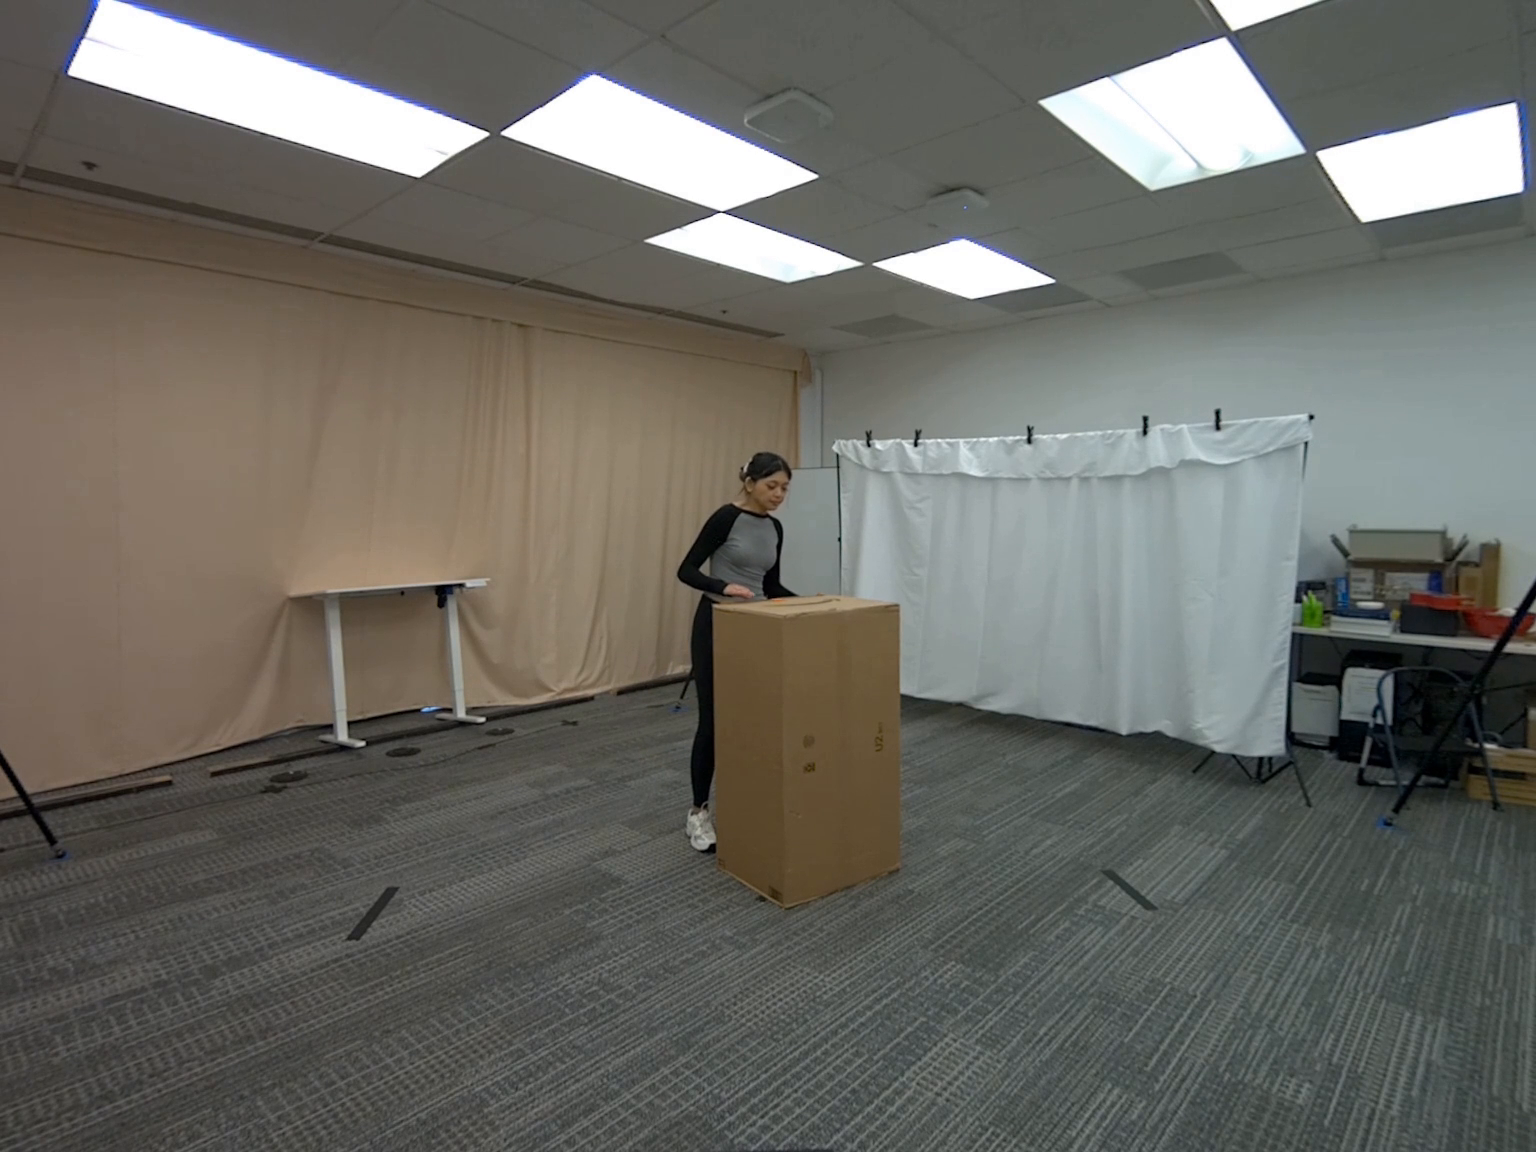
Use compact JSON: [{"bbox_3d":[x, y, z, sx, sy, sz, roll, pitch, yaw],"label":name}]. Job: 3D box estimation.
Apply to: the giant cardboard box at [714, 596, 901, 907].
[{"bbox_3d":[0.153,0.617,3.208,0.567,1.025,0.461,-3,5,-37],"label":"giant cardboard box"}]
